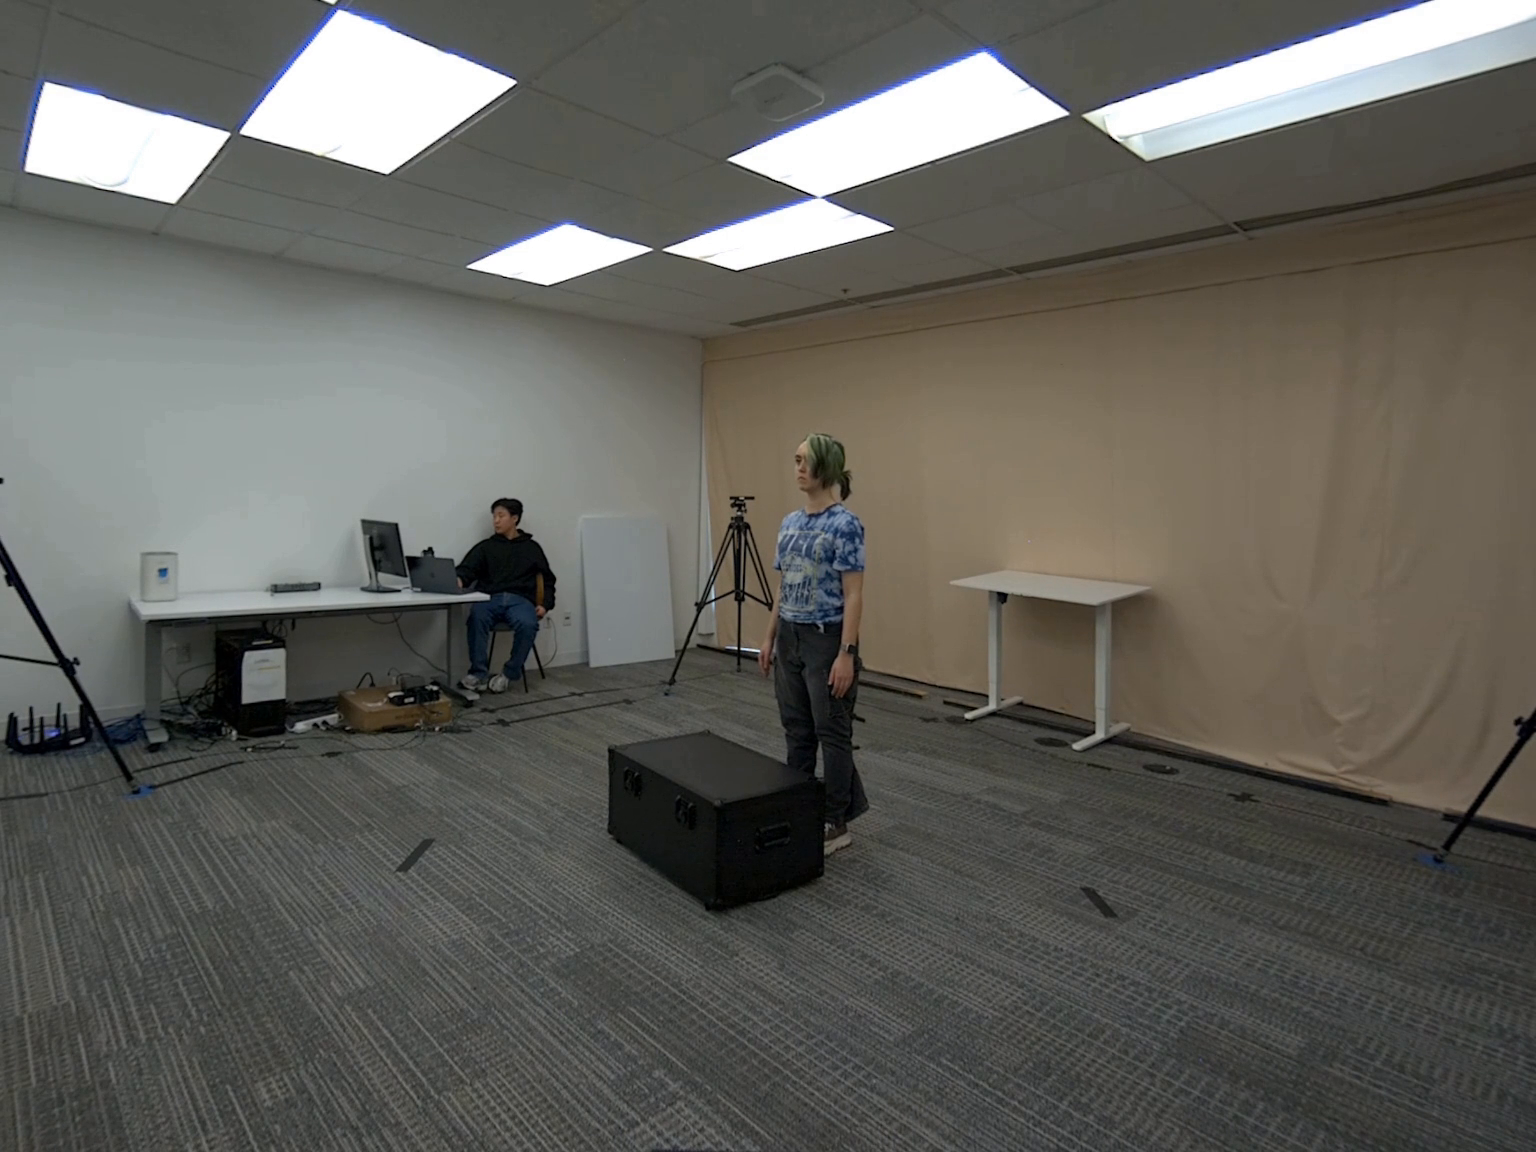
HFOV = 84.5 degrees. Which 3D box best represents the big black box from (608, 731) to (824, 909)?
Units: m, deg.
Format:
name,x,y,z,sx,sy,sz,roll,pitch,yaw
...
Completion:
name,x,y,z,sx,sy,sz,roll,pitch,yaw
big black box,-0.246,0.898,3.250,0.510,0.395,0.883,-2,6,-37
